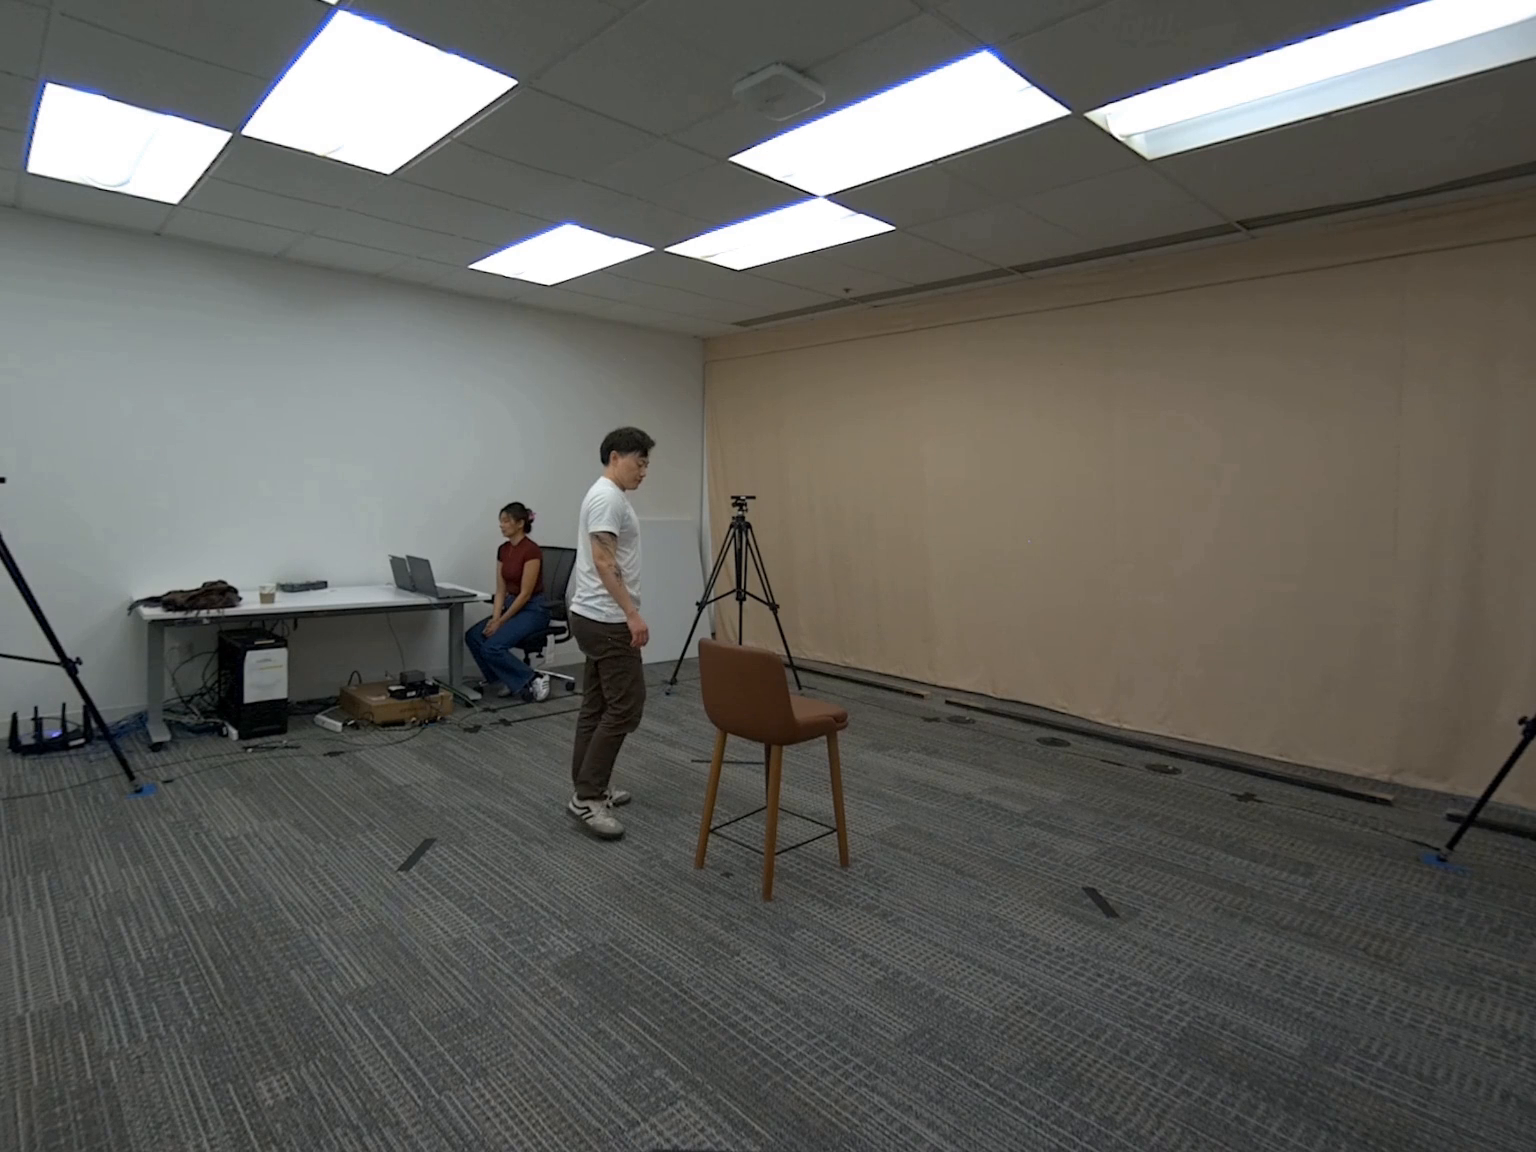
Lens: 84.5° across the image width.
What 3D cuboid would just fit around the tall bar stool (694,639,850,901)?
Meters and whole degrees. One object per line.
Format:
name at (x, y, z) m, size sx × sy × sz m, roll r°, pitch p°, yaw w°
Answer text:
tall bar stool at (0.012, 0.666, 3.155) m, size 0.468 × 0.887 × 0.457 m, roll 4°, pitch 6°, yaw 44°
